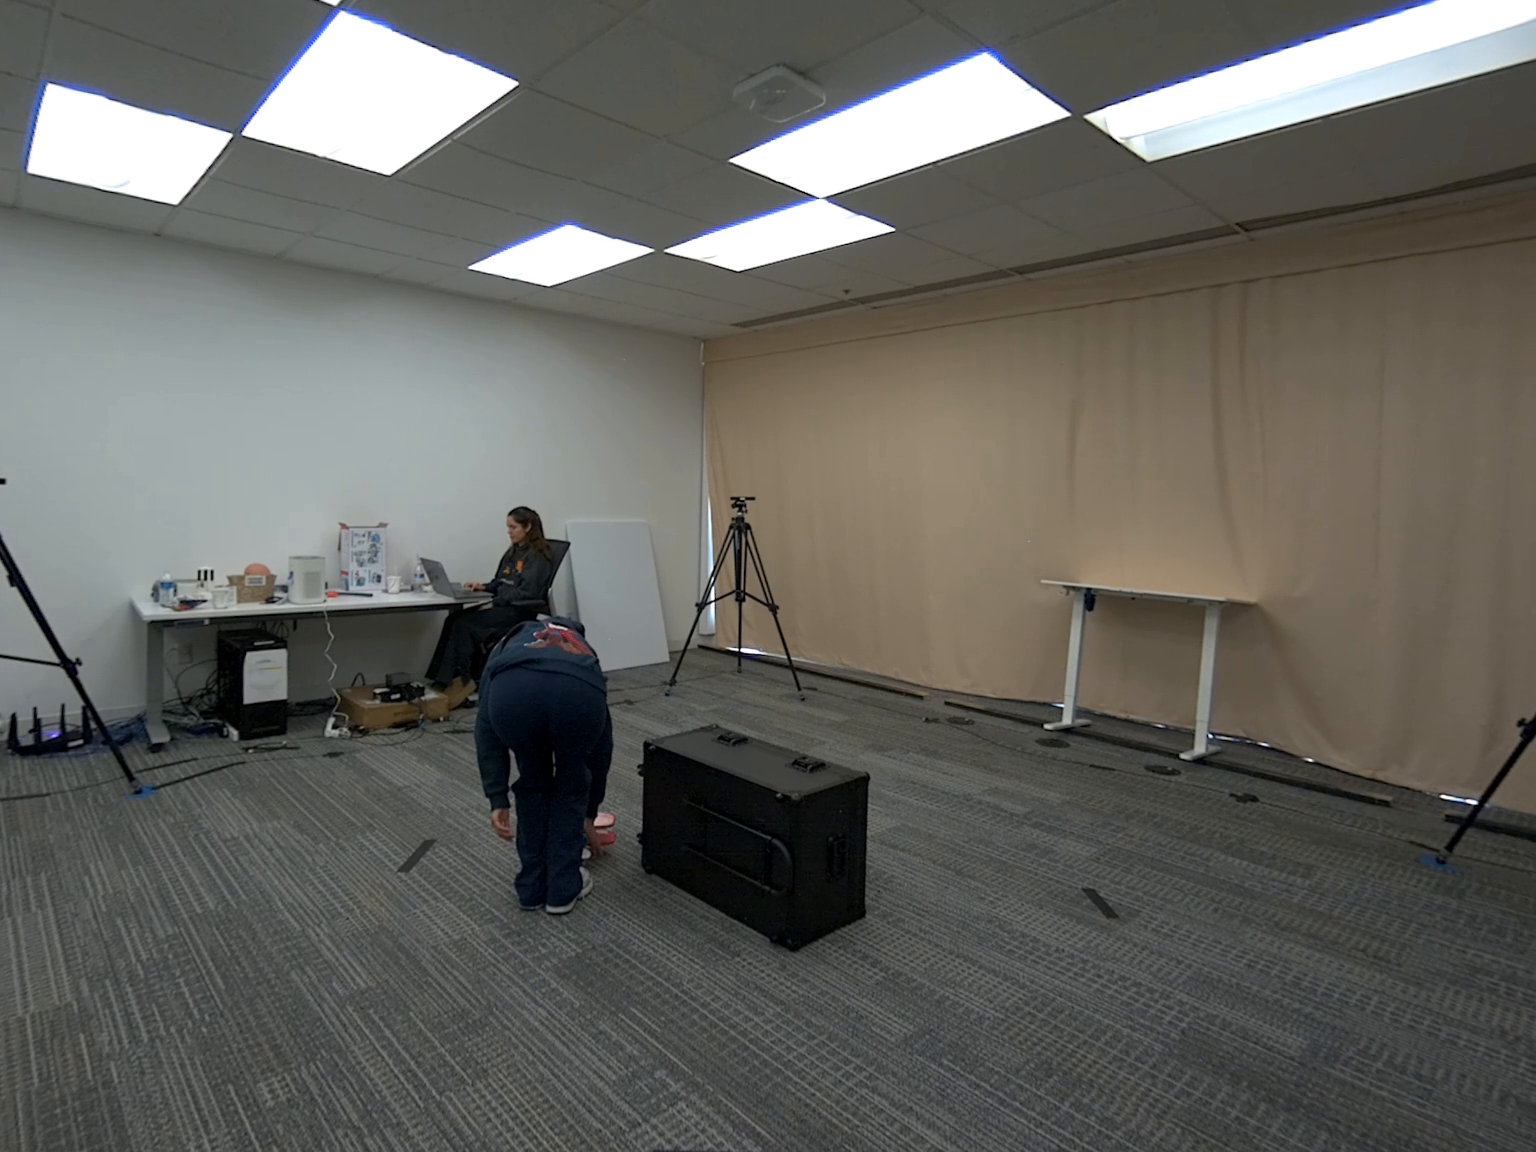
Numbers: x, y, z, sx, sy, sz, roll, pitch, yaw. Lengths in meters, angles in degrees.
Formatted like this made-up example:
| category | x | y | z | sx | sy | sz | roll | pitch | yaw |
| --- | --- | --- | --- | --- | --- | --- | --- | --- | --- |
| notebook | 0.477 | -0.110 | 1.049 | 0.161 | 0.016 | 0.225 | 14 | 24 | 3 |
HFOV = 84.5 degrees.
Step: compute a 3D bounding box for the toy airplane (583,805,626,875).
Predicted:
| category | x | y | z | sx | sy | sz | roll | pitch | yaw |
| --- | --- | --- | --- | --- | --- | --- | --- | --- | --- |
| toy airplane | -0.705 | 1.009 | 3.241 | 0.247 | 0.156 | 0.264 | 2 | 4 | -22 |
